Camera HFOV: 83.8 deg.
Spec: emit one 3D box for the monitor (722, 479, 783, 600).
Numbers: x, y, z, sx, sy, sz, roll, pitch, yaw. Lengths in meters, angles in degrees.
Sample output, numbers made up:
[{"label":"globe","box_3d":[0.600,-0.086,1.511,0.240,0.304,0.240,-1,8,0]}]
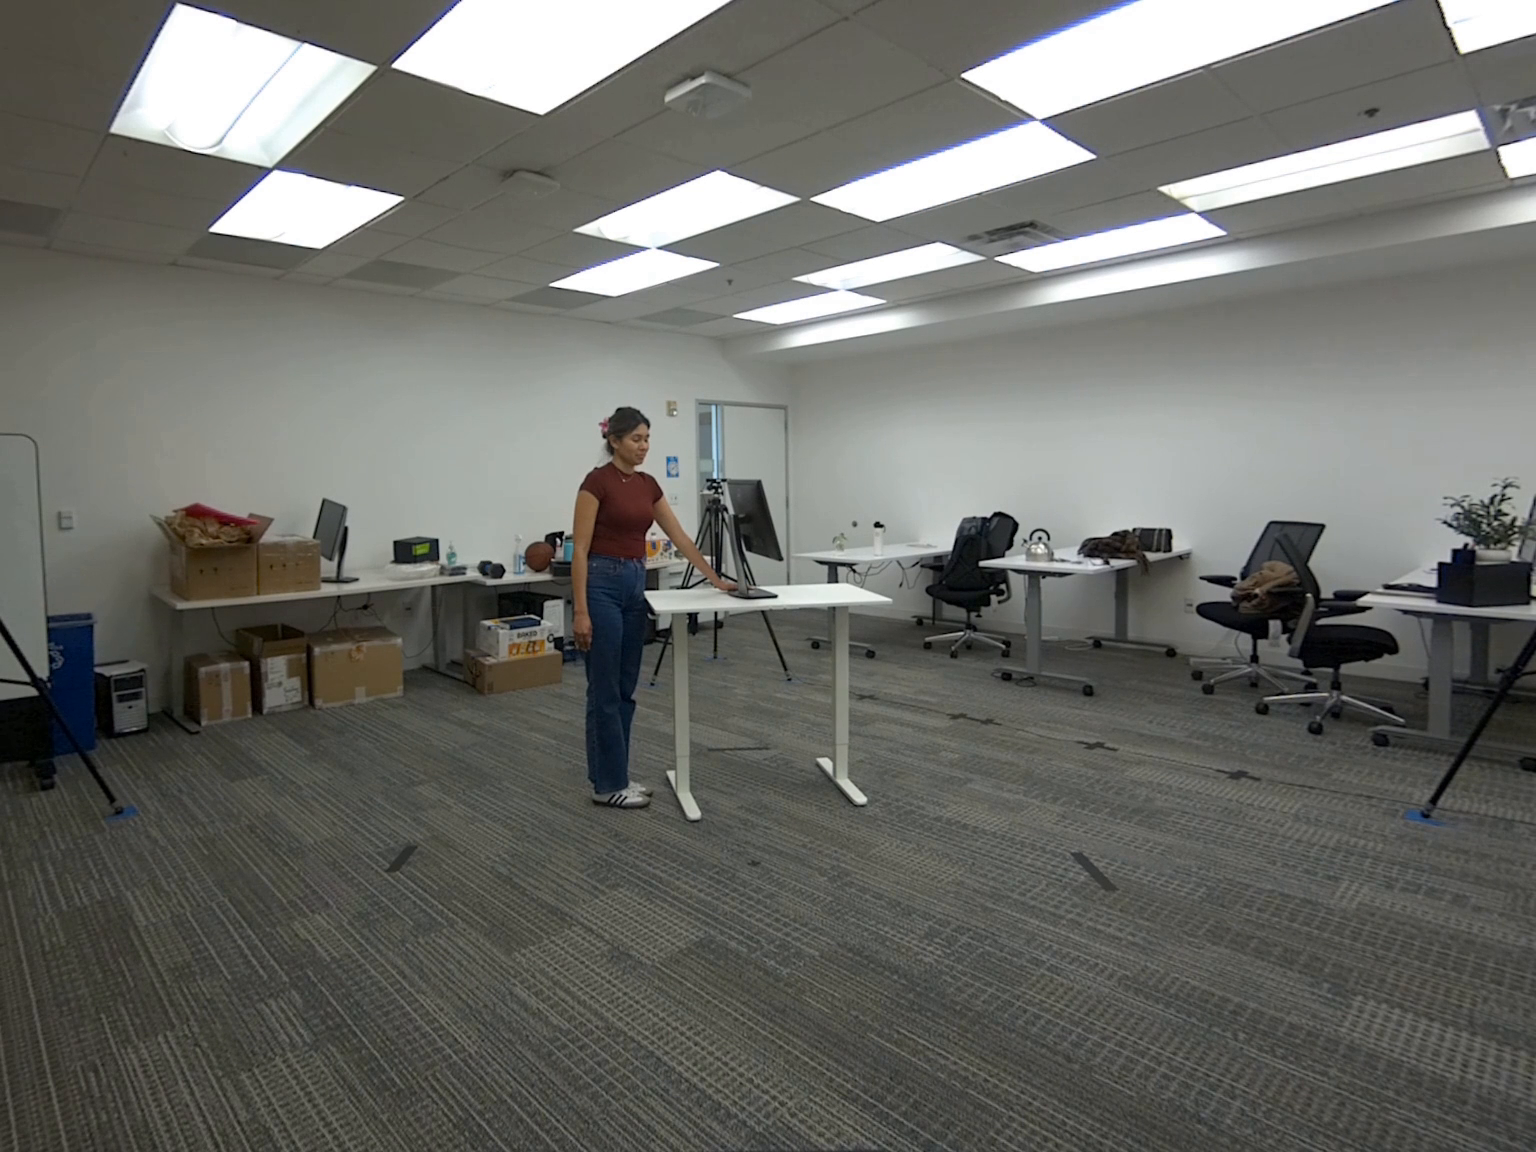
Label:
[{"label":"monitor","box_3d":[-0.098,-0.169,3.784,0.184,0.520,0.550,-4,7,-18]}]
